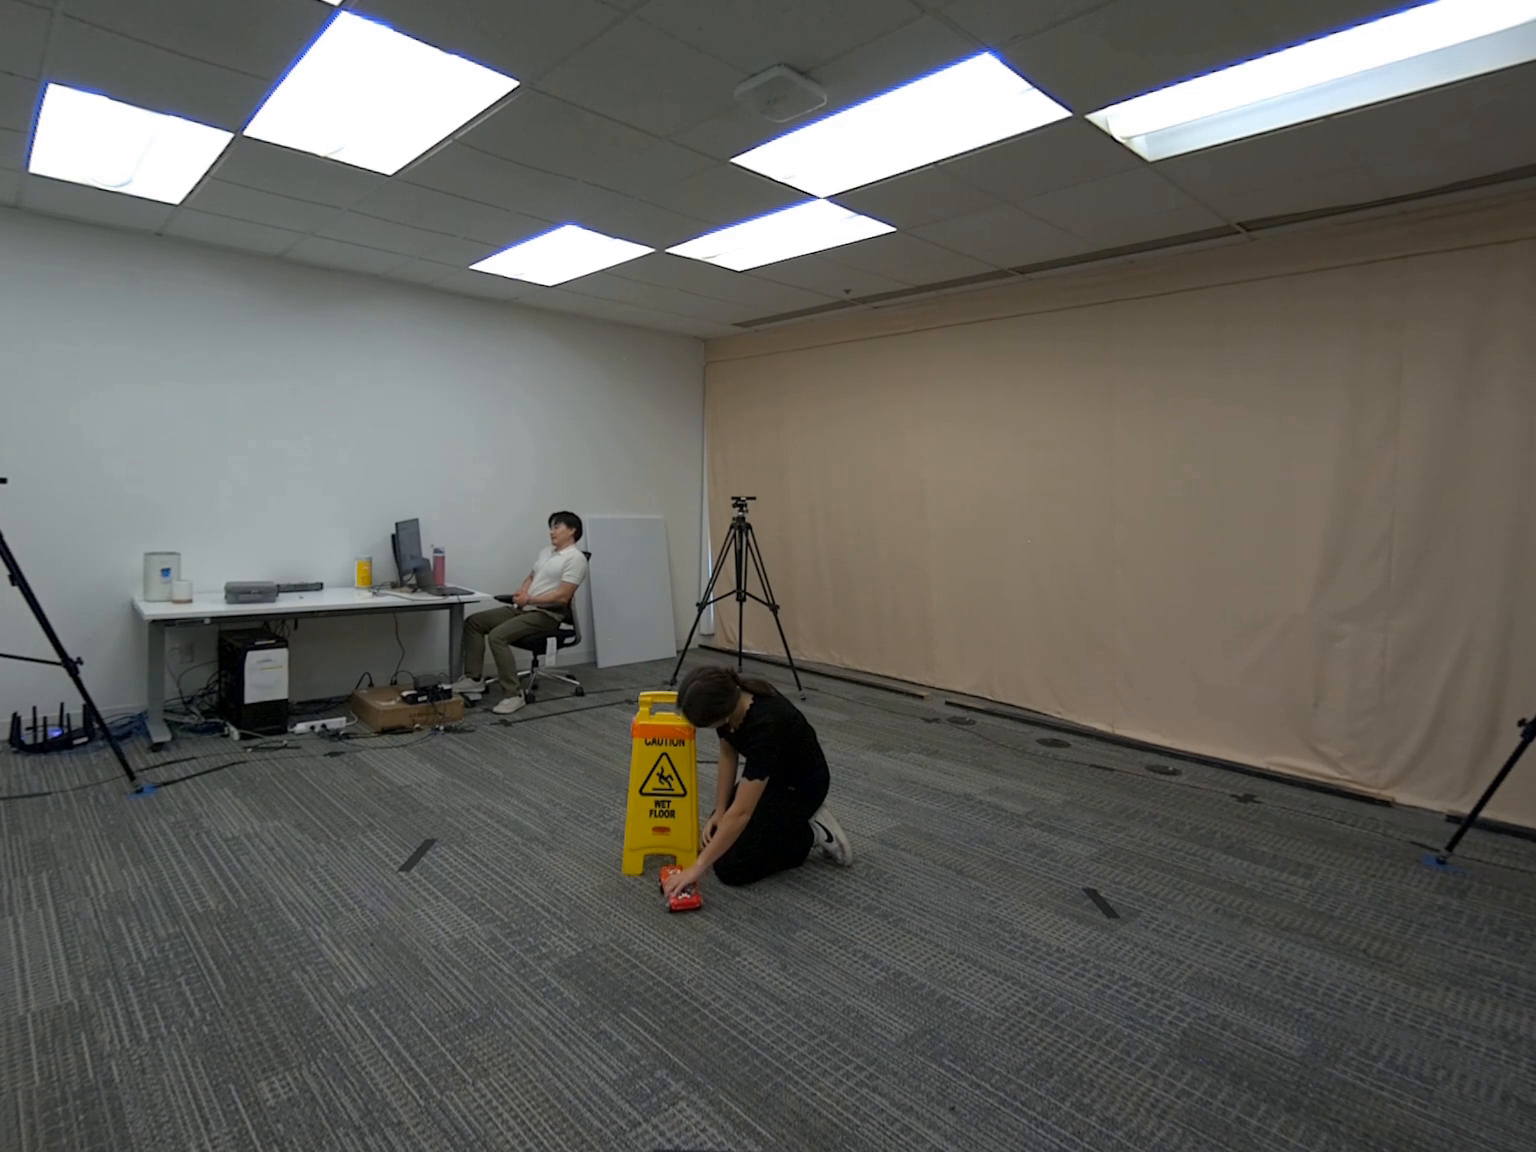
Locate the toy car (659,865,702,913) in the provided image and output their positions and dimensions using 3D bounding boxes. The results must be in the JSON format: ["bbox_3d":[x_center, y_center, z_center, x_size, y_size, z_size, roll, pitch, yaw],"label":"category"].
[{"bbox_3d":[-0.326,1.089,2.927,0.129,0.082,0.260,0,18,-17],"label":"toy car"}]
